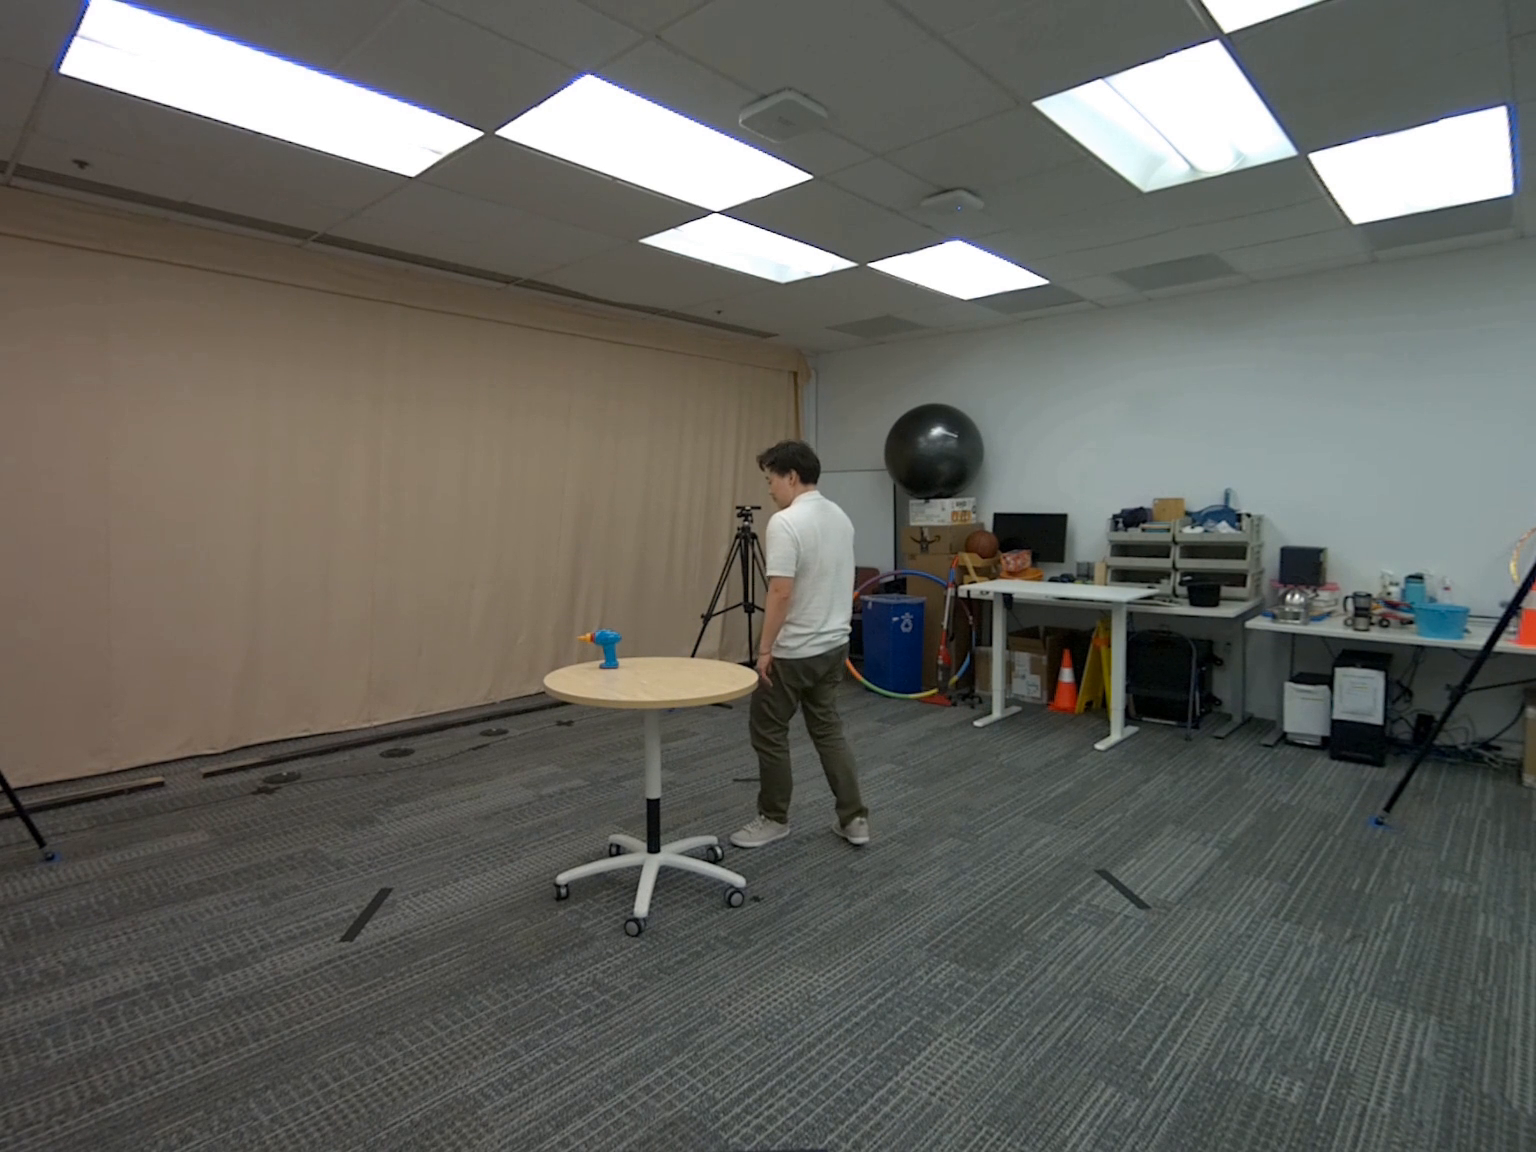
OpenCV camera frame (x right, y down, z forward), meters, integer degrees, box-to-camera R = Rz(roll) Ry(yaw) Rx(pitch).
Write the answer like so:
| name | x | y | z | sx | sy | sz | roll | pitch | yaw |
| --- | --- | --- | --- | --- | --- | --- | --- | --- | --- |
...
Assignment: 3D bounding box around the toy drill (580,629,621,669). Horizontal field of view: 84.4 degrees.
| name | x | y | z | sx | sy | sz | roll | pitch | yaw |
| --- | --- | --- | --- | --- | --- | --- | --- | --- | --- |
| toy drill | -0.636 | 0.275 | 3.178 | 0.170 | 0.145 | 0.061 | -1 | 5 | 1 |
